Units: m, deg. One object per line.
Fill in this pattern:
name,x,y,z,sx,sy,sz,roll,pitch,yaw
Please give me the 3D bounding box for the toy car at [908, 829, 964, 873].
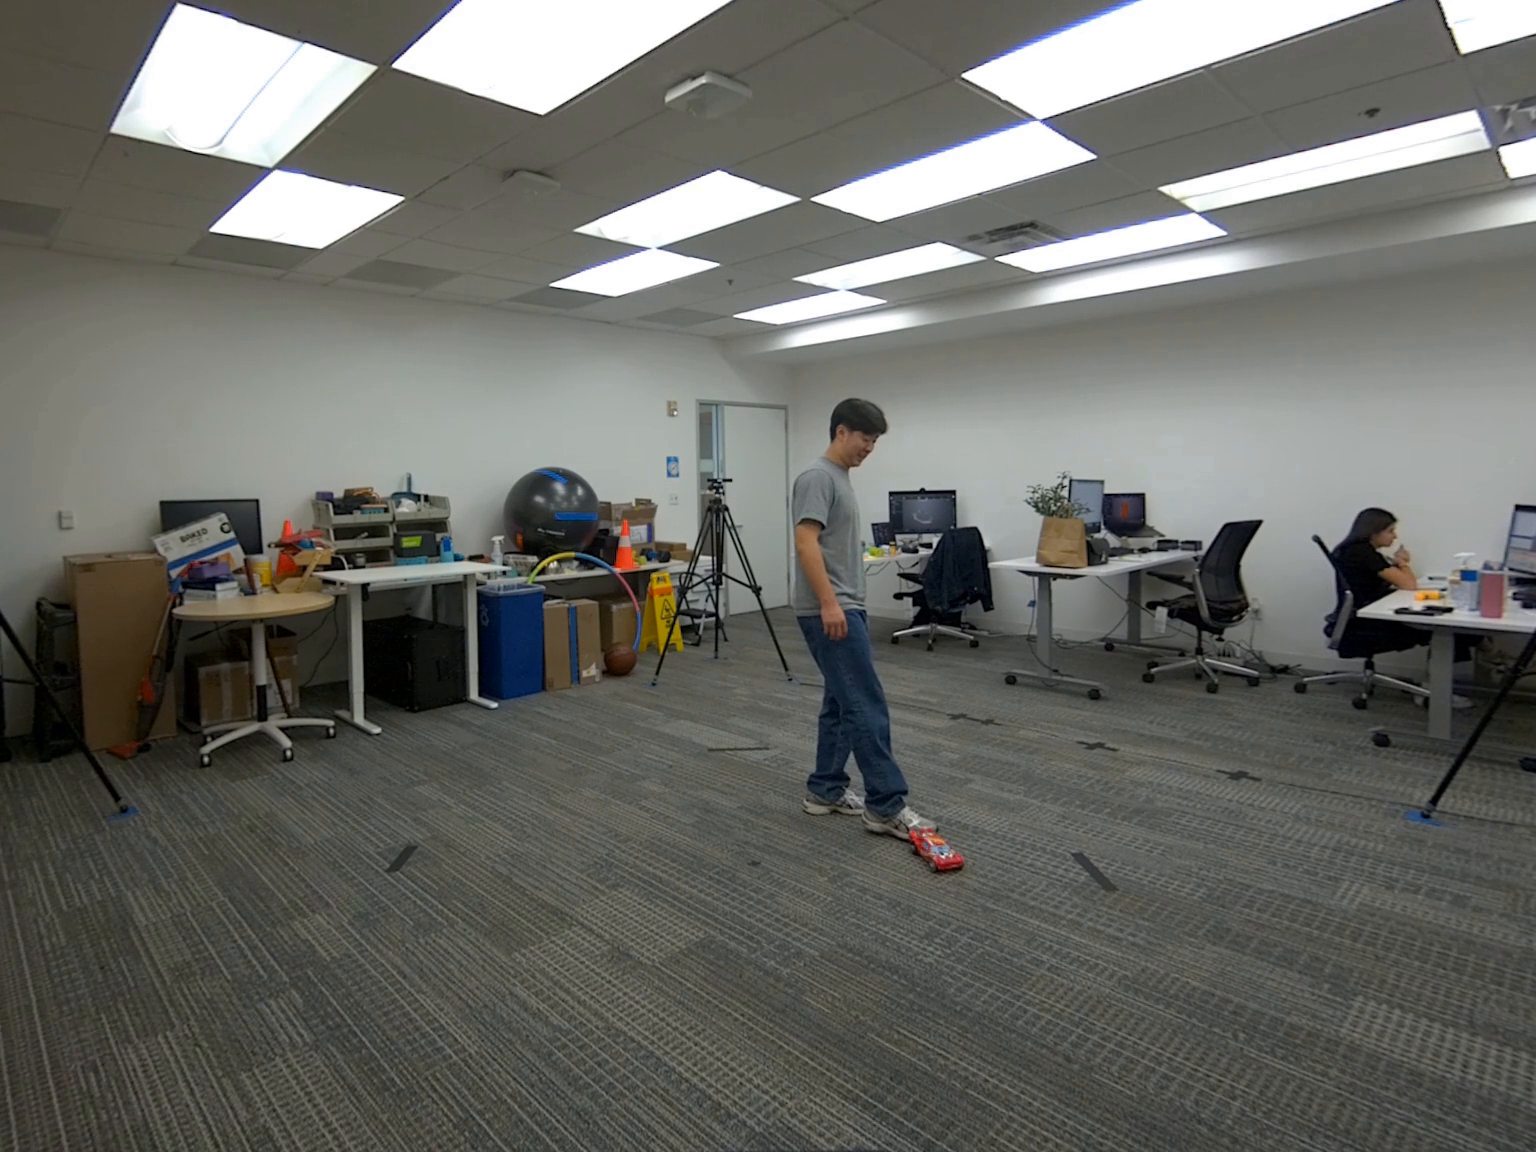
toy car,0.611,1.002,3.115,0.128,0.082,0.261,-1,16,-15
